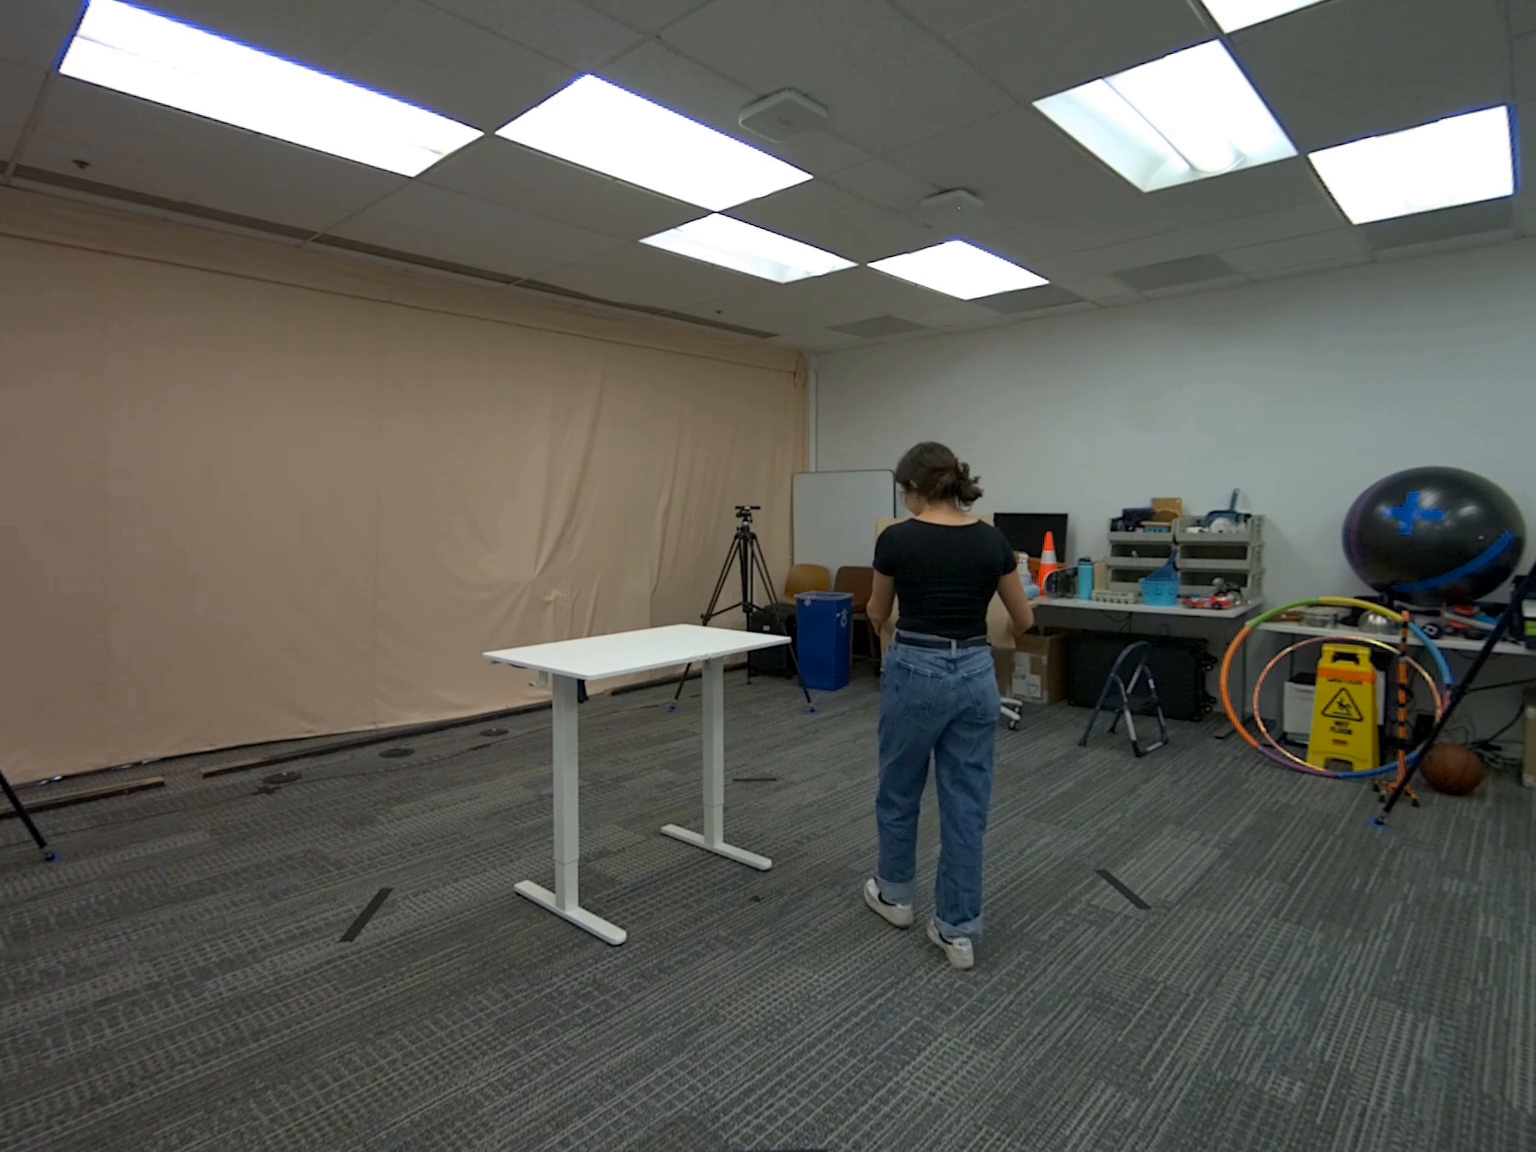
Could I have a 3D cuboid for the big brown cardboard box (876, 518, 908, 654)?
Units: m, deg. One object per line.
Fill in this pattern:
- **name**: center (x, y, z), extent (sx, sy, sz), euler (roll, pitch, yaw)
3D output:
- **big brown cardboard box**: center (0.615, 0.072, 3.001), extent (0.421, 0.598, 0.228), euler (-1, -37, 6)
